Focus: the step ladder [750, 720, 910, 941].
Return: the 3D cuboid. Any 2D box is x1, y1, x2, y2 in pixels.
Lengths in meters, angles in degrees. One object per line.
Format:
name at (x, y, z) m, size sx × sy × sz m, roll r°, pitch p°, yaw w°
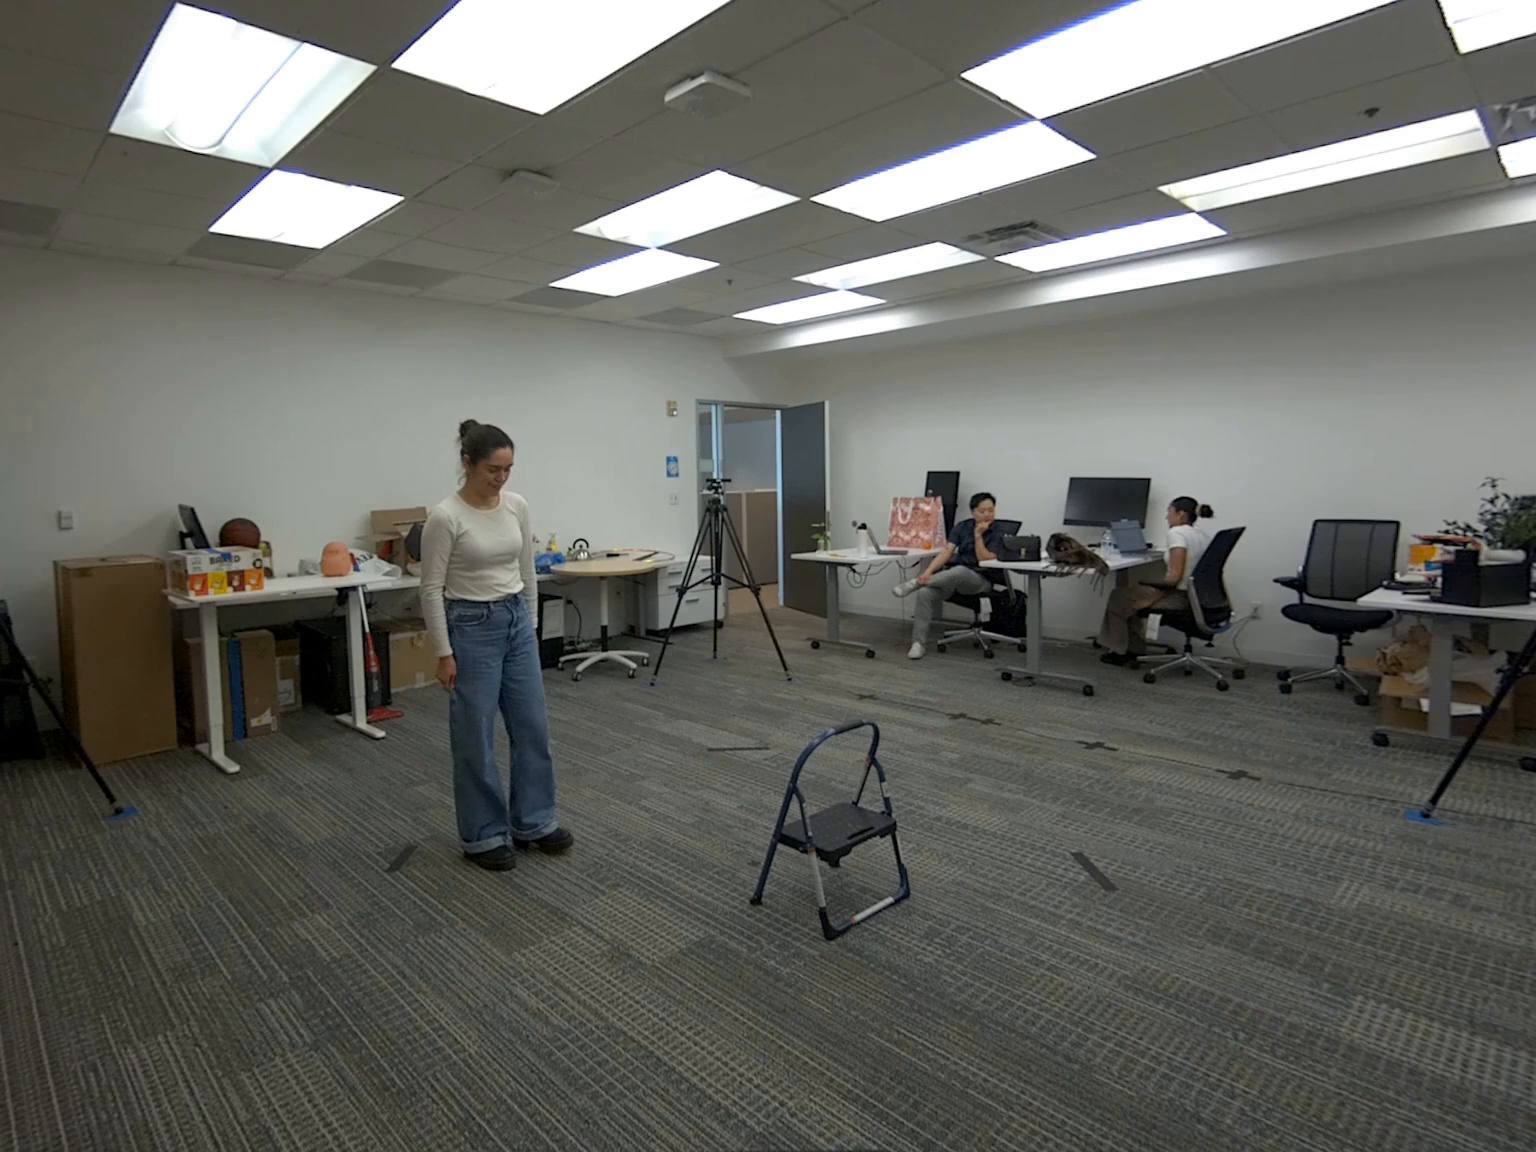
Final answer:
step ladder at (0.207, 0.770, 2.808) m, size 0.419 × 0.604 × 0.360 m, roll -6°, pitch 6°, yaw -43°
